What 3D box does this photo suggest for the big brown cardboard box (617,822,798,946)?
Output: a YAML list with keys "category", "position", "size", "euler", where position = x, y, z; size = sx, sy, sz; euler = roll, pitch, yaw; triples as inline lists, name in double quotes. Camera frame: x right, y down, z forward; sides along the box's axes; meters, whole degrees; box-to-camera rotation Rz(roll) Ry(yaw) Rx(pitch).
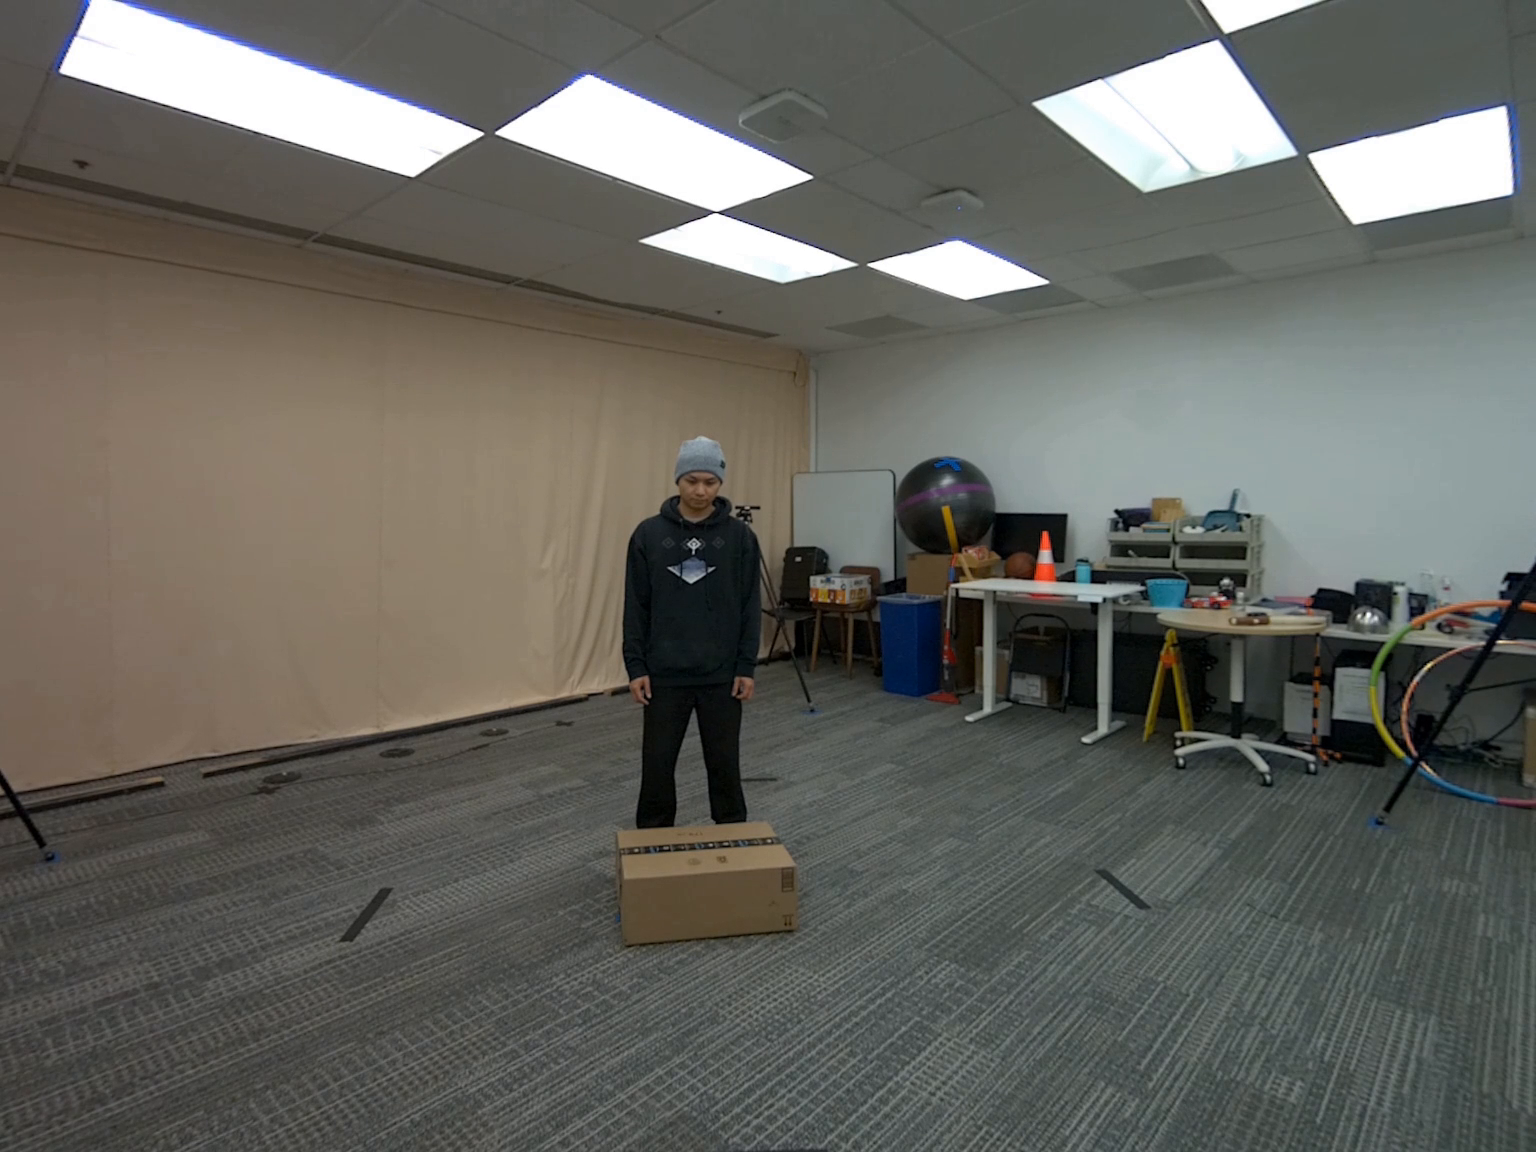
- category: "big brown cardboard box"
  position: [-0.229, 1.041, 2.900]
  size: [0.583, 0.233, 0.423]
  euler: [-2, 4, -10]
